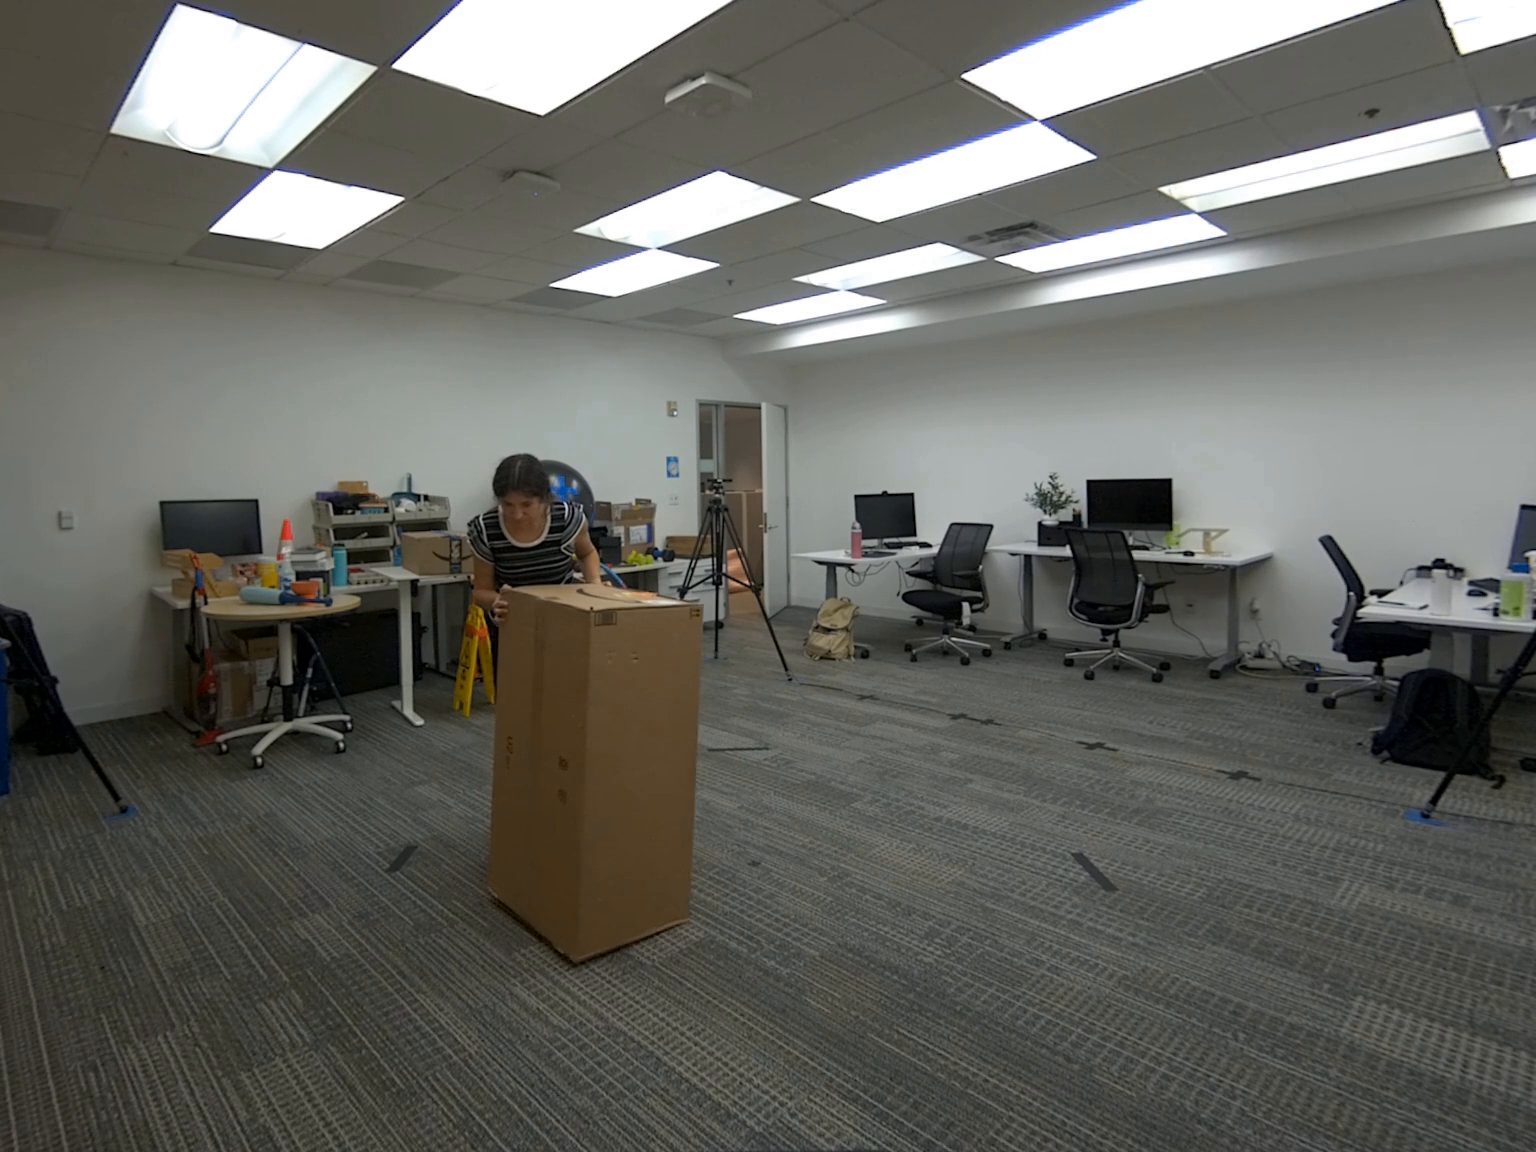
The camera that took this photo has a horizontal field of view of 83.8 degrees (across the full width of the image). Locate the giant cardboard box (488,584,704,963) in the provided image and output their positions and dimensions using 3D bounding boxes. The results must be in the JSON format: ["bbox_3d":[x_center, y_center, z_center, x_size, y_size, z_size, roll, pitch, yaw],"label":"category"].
[{"bbox_3d":[-0.565,0.578,2.780,0.414,1.024,0.595,1,3,-42],"label":"giant cardboard box"}]
